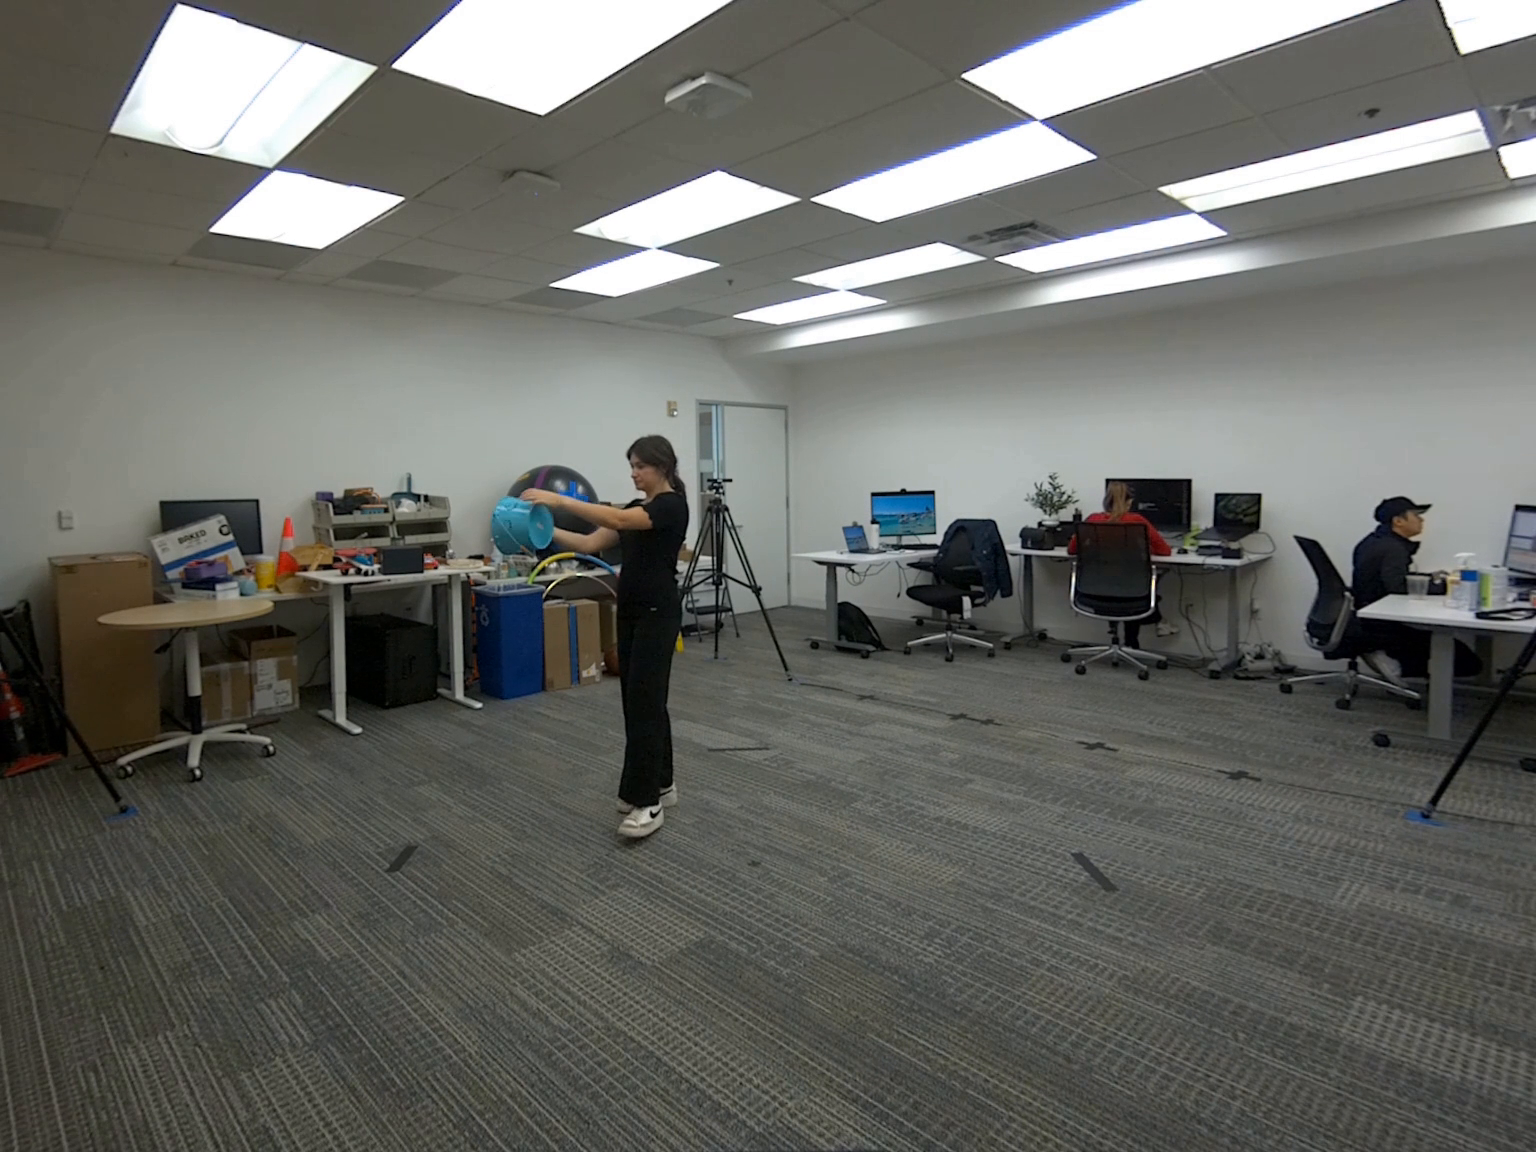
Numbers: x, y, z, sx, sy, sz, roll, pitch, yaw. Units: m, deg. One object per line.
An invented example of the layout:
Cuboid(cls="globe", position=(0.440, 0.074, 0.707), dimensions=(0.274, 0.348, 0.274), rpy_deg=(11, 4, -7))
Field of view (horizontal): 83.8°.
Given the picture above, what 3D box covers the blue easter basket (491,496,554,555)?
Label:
Cuboid(cls="blue easter basket", position=(-0.950, -0.192, 3.340), dimensions=(0.158, 0.243, 0.240), rpy_deg=(0, 5, 17))
